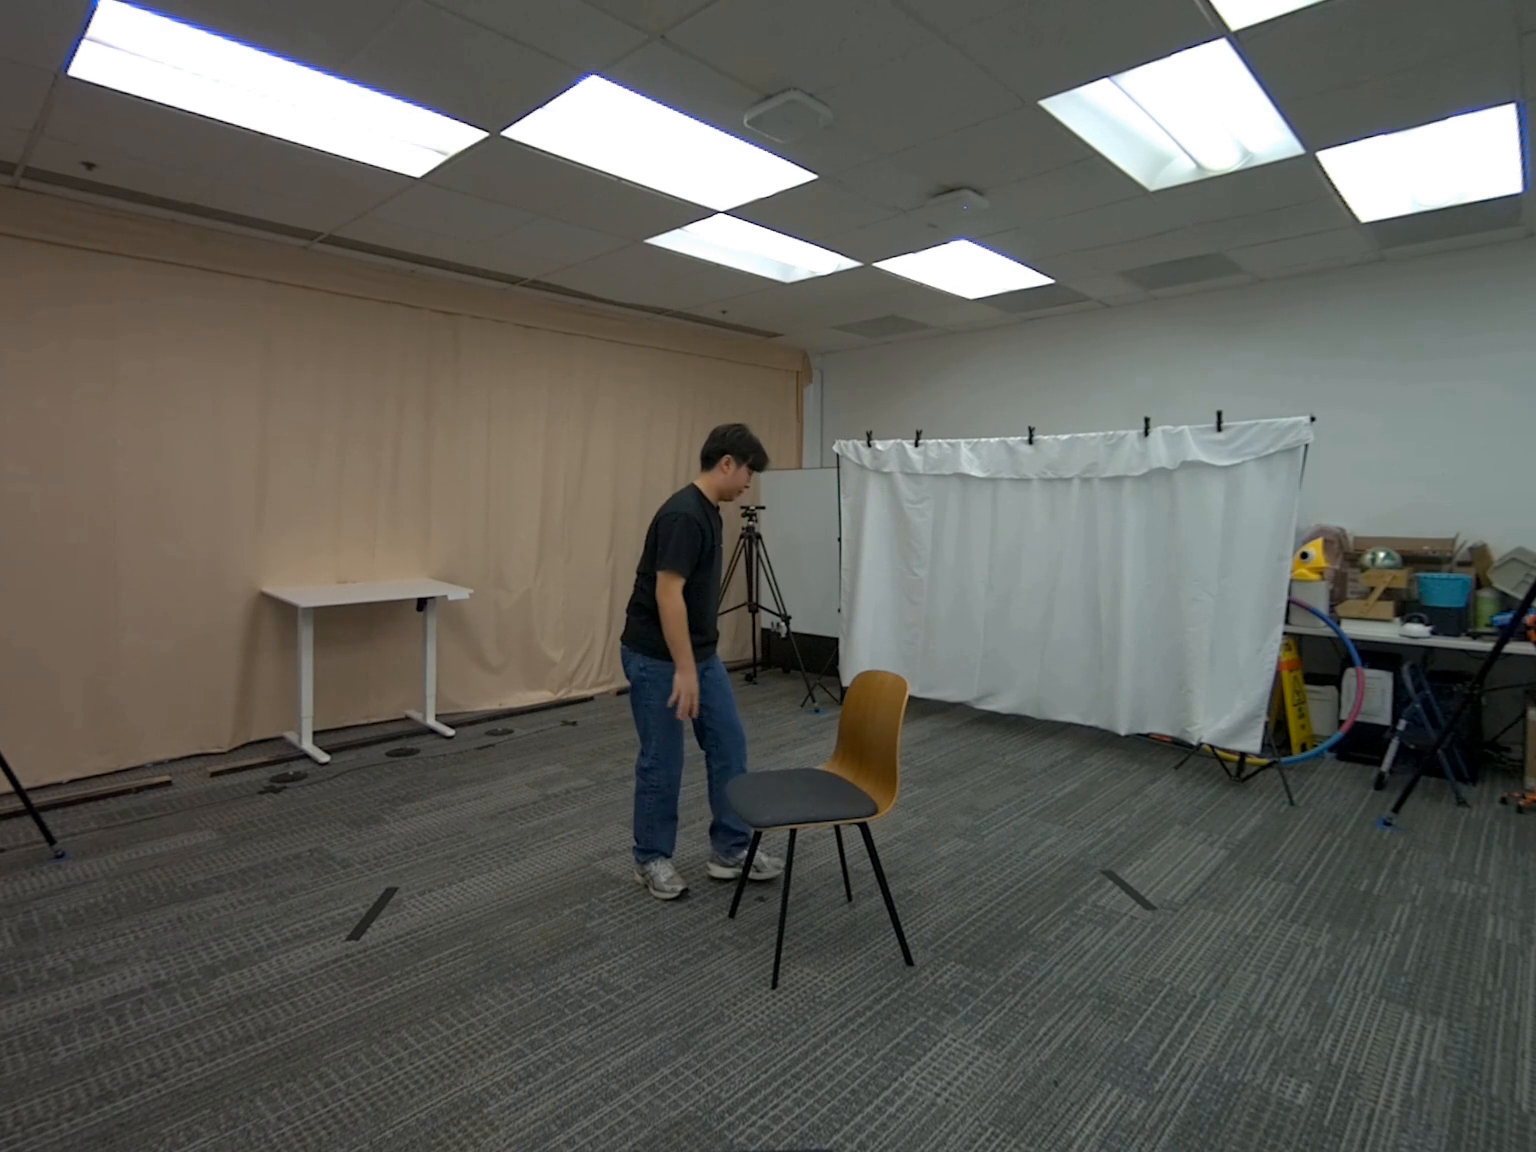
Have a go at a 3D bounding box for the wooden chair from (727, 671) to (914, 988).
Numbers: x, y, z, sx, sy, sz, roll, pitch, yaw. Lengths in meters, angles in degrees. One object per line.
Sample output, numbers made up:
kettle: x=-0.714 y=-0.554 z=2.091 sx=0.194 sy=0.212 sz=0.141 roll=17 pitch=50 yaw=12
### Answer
wooden chair: x=0.153 y=0.745 z=2.666 sx=0.514 sy=0.876 sz=0.487 roll=3 pitch=2 yaw=-18
